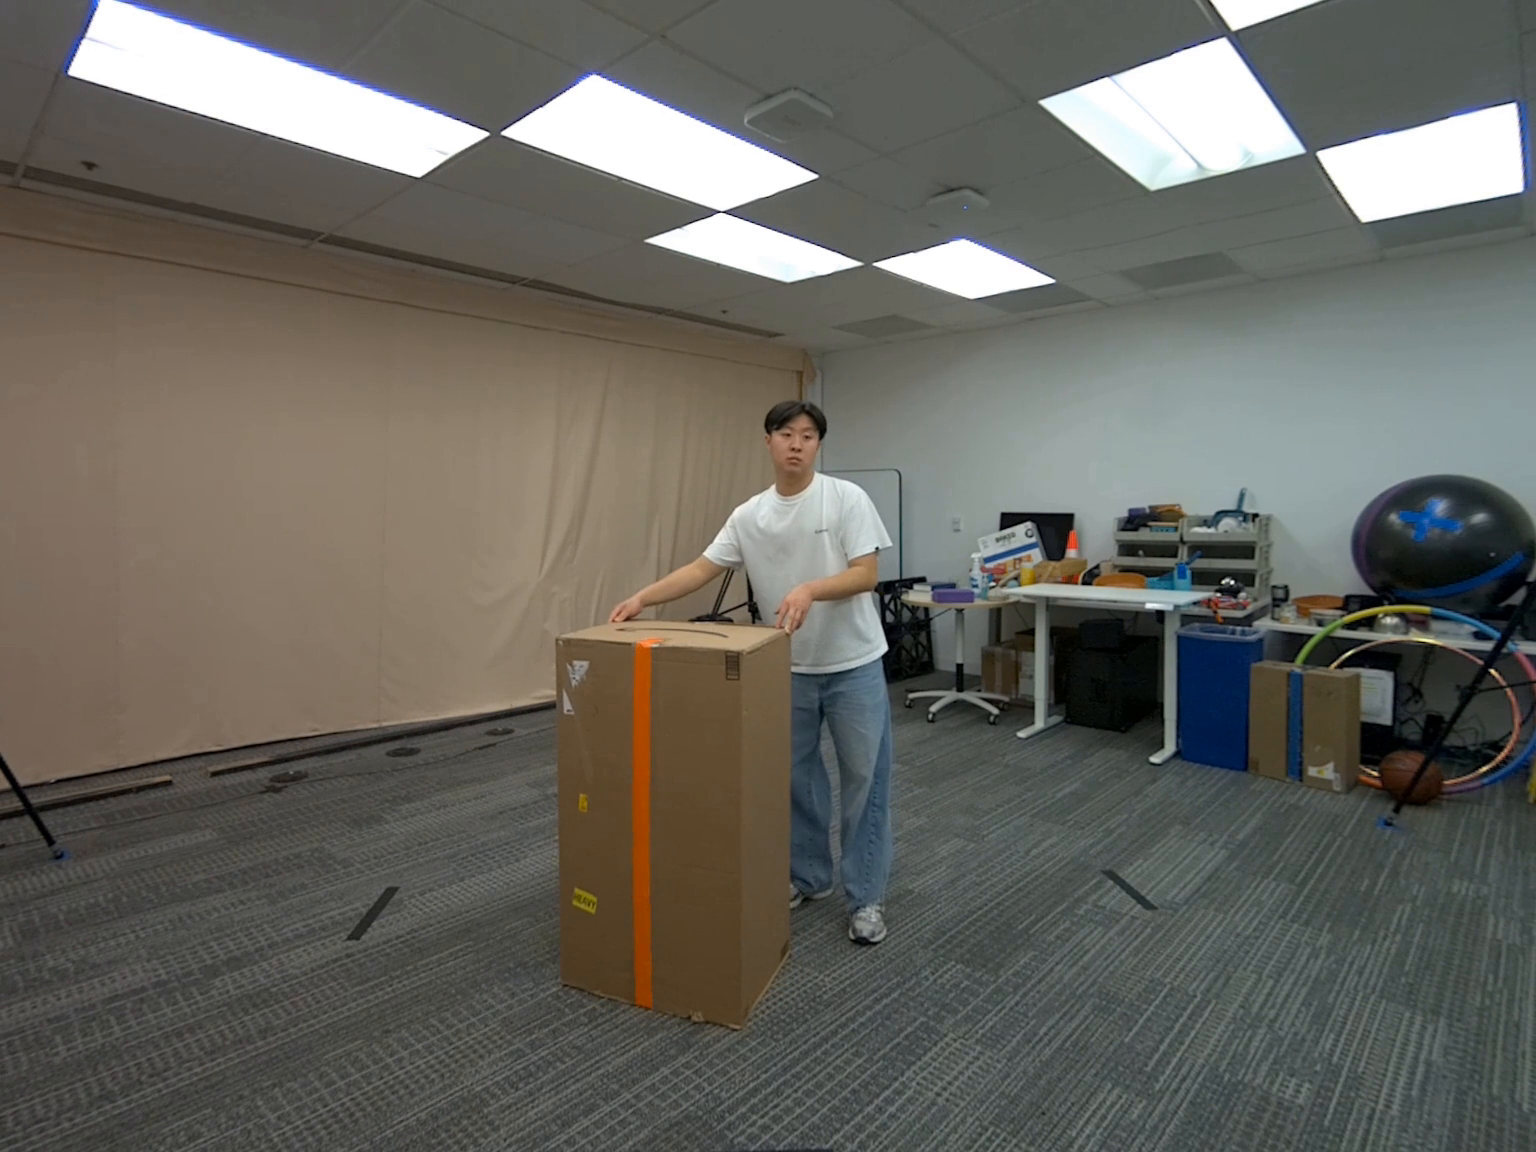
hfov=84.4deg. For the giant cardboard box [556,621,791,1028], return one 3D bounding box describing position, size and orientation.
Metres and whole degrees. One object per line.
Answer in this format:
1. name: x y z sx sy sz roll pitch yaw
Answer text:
1. giant cardboard box: -0.269 0.676 2.503 0.591 1.024 0.417 1 3 23
